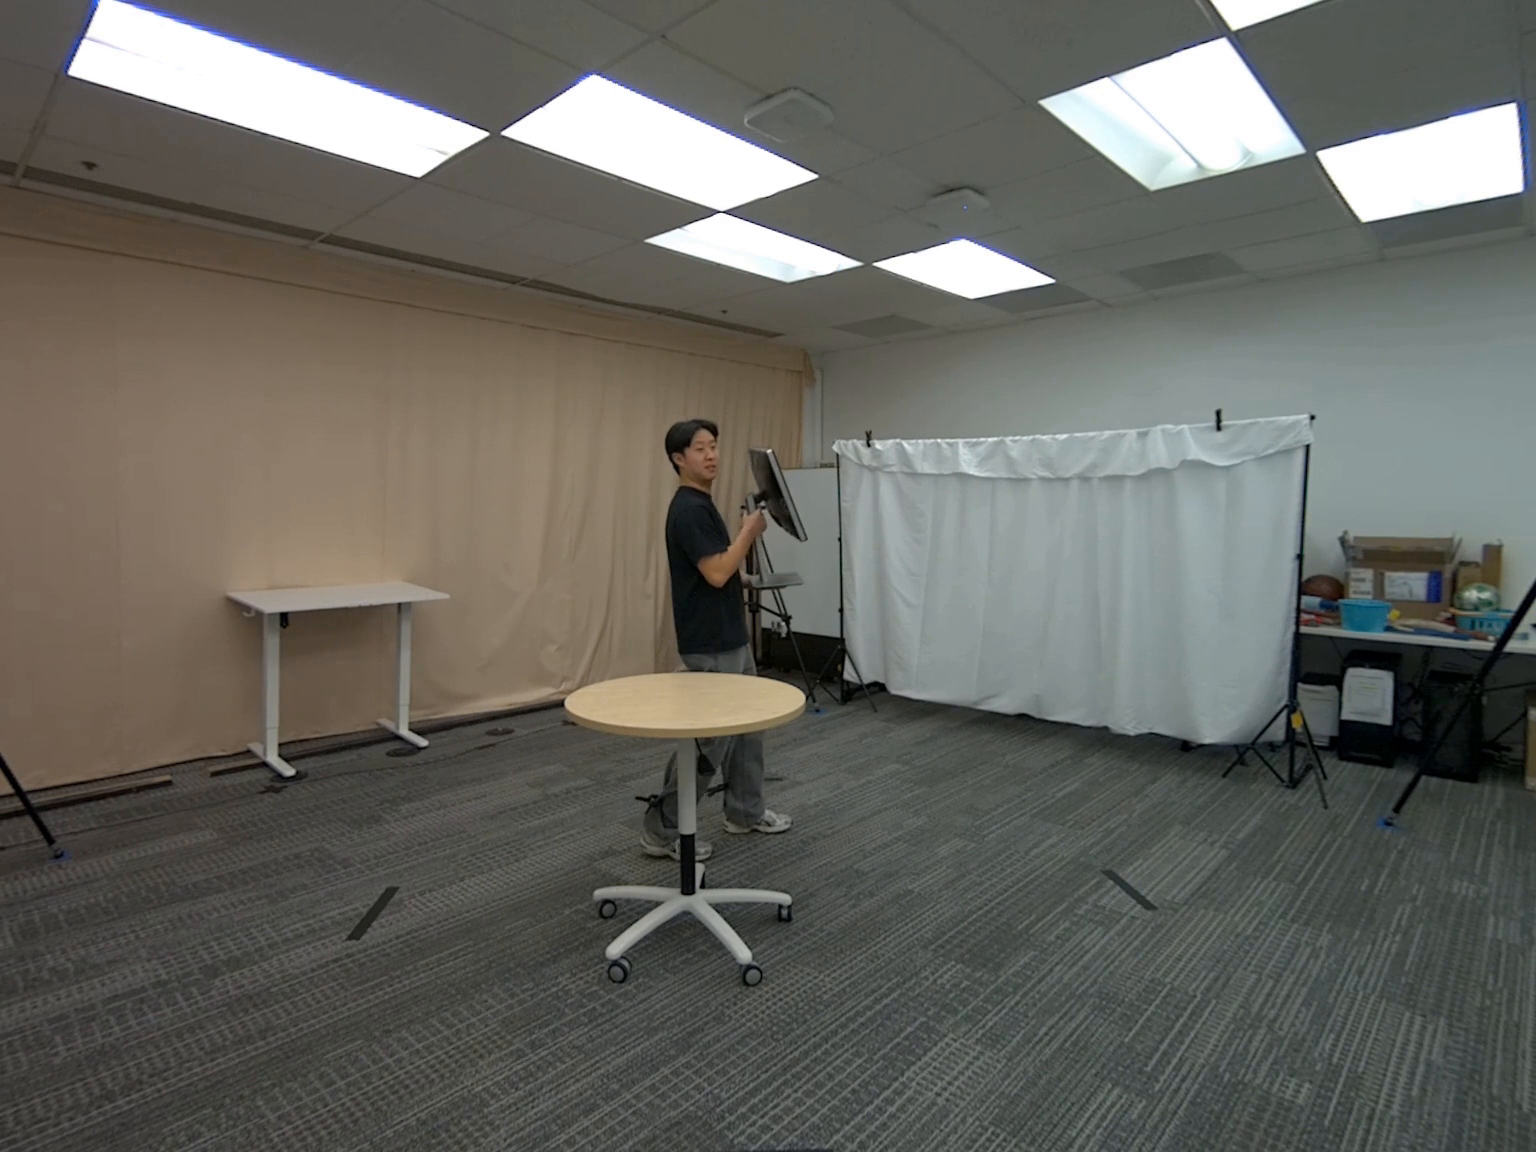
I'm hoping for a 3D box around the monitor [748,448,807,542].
[{"bbox_3d":[0.011,-0.233,3.372,0.221,0.562,0.567,-5,10,-4],"label":"monitor"}]
